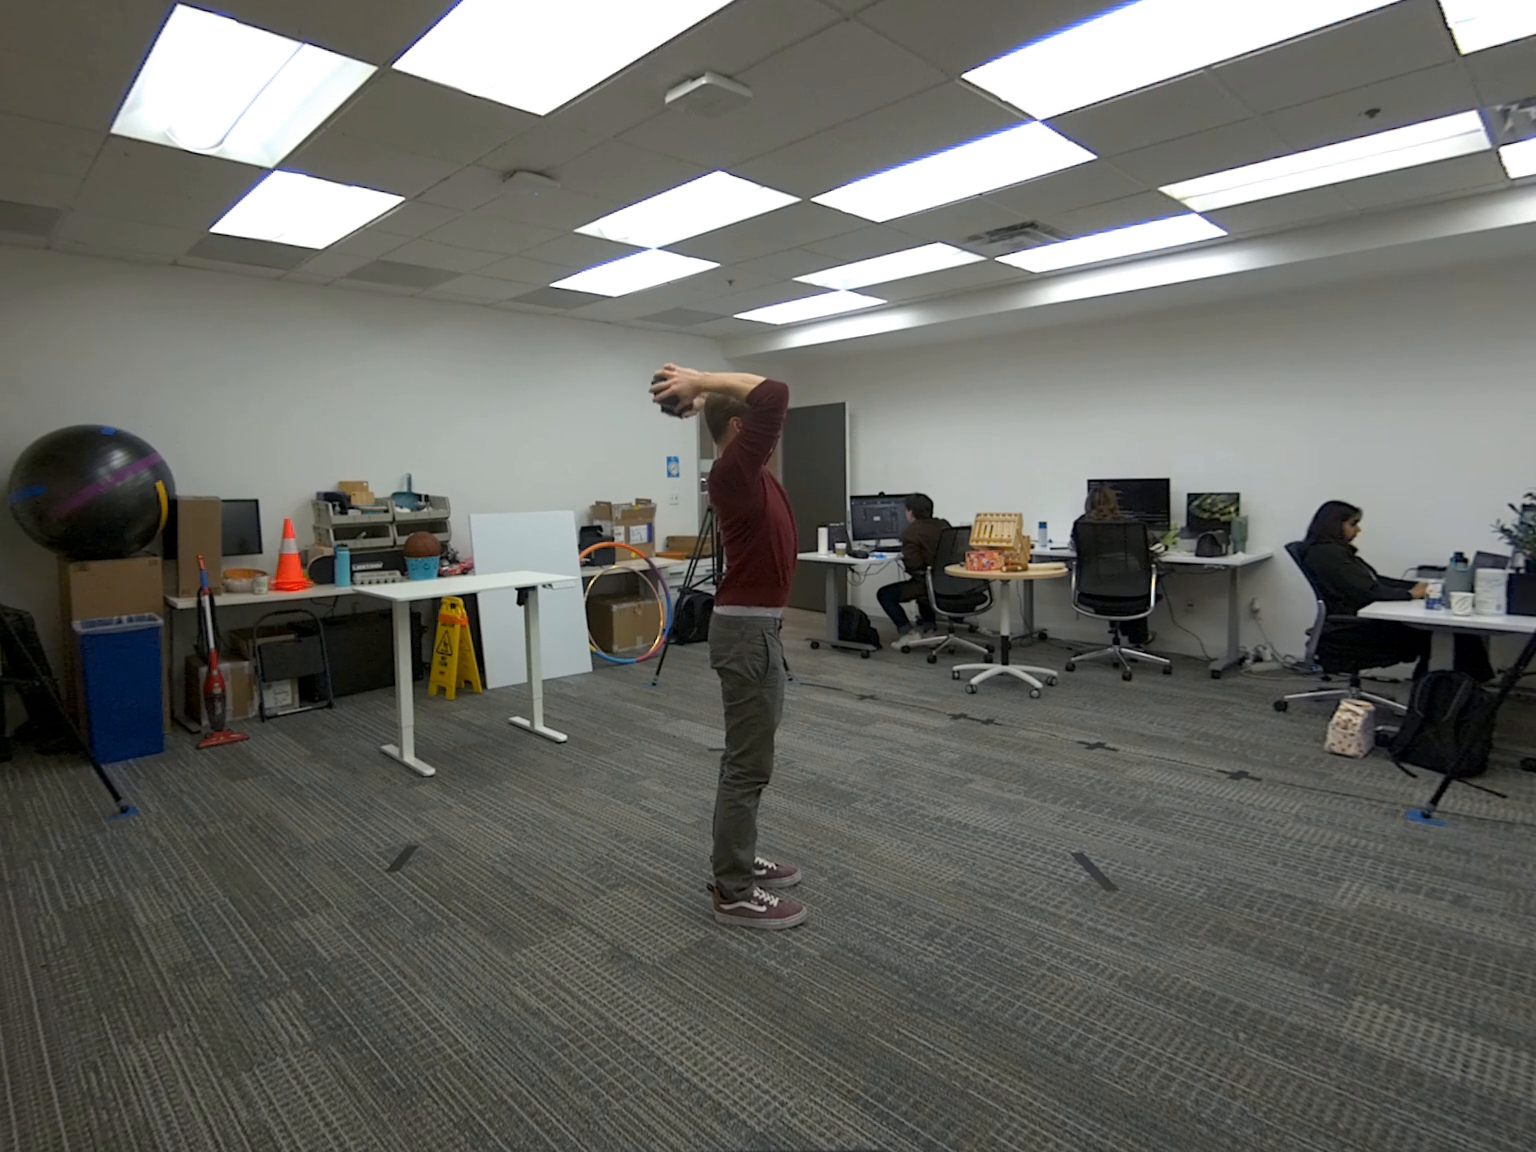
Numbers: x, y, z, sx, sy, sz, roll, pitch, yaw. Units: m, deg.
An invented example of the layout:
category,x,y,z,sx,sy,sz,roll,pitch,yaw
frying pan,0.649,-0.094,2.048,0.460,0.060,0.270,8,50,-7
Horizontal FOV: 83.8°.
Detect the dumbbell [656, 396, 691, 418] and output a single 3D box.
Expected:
category,x,y,z,sx,sy,sz,roll,pitch,yaw
dumbbell,-0.280,-0.605,2.787,0.123,0.109,0.291,-39,-3,9
